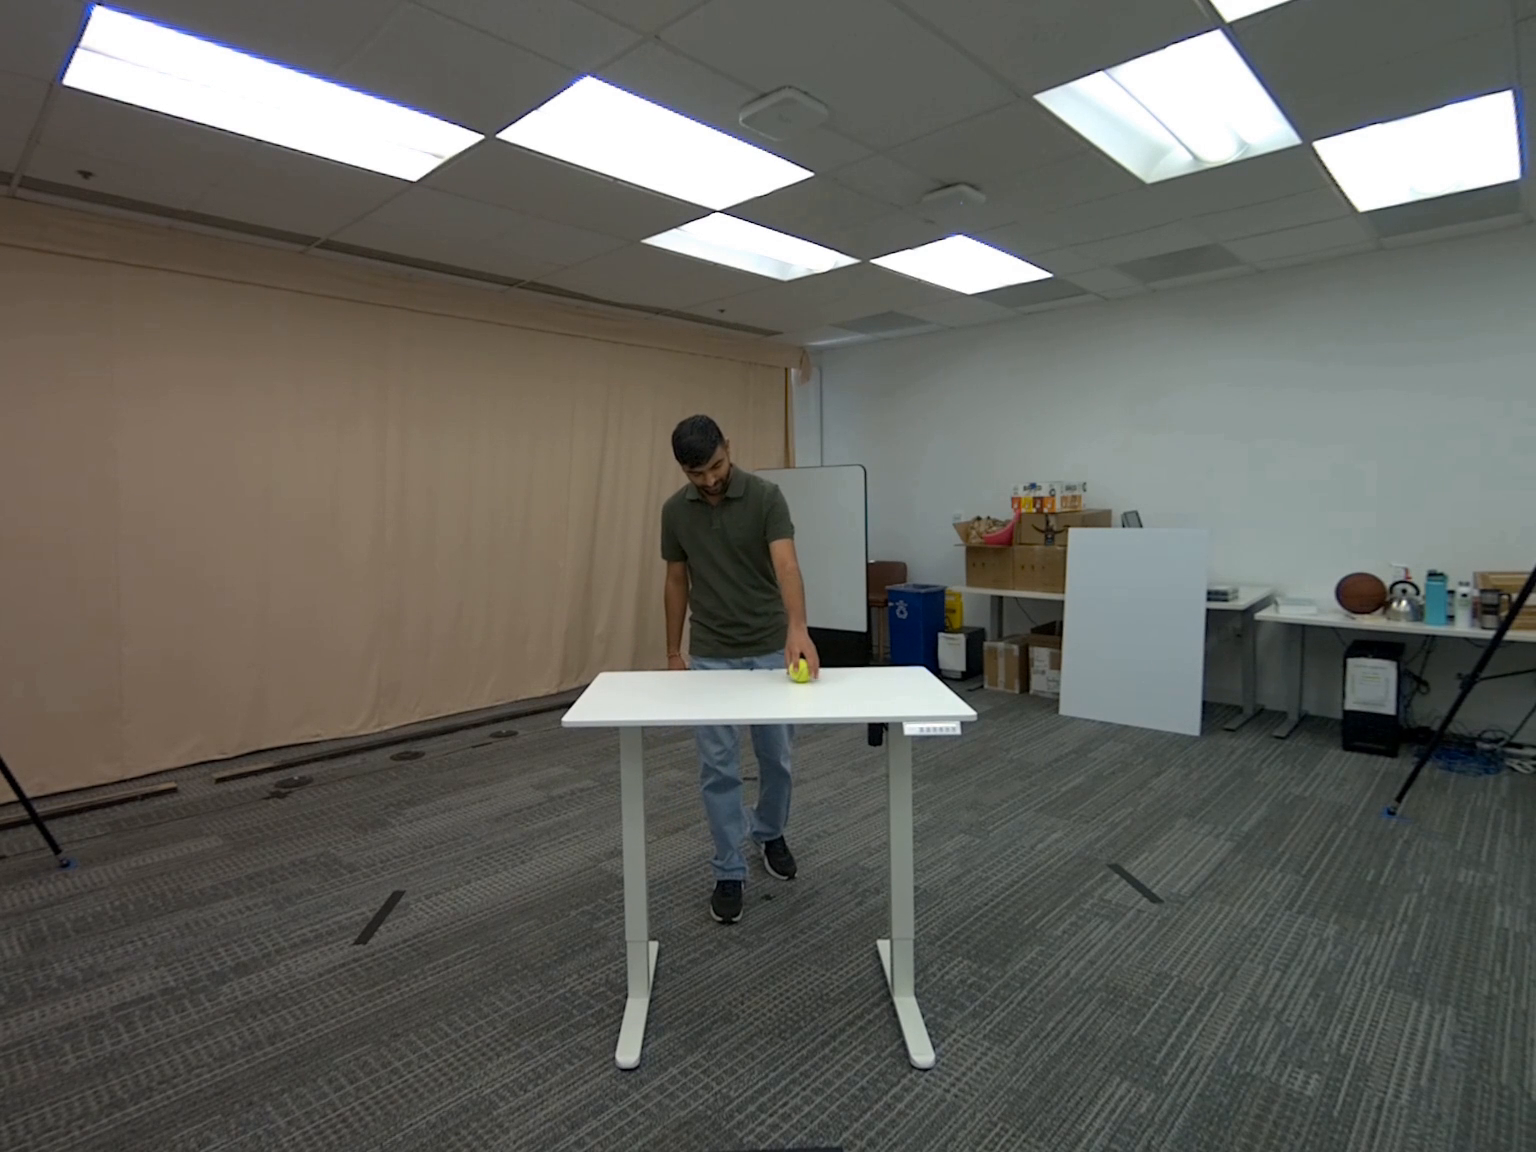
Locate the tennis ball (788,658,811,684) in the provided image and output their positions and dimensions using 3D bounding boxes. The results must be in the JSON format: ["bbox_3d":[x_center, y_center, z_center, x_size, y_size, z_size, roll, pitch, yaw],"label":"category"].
[{"bbox_3d":[0.104,0.264,2.432,0.066,0.066,0.067,-1,4,-2],"label":"tennis ball"}]
